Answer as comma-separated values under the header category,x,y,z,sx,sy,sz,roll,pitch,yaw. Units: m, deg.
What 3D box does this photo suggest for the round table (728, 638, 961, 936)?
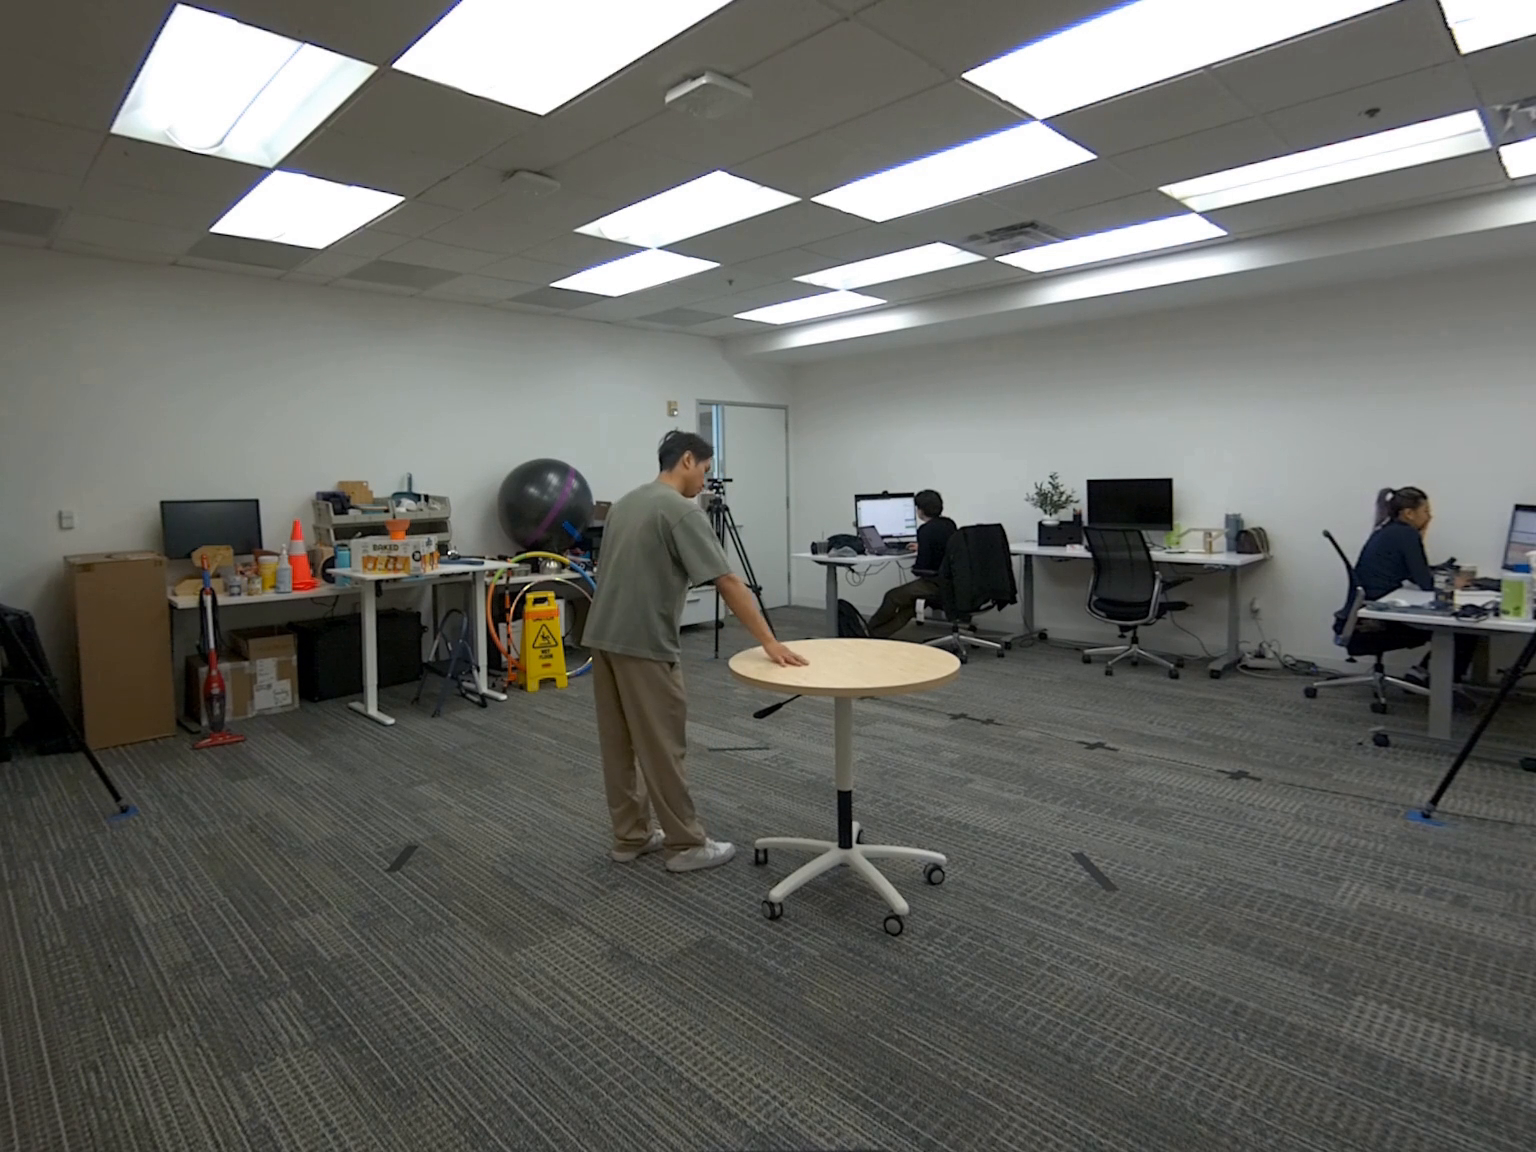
category,x,y,z,sx,sy,sz,roll,pitch,yaw
round table,0.266,0.674,2.893,0.763,0.791,0.768,-1,5,-2
